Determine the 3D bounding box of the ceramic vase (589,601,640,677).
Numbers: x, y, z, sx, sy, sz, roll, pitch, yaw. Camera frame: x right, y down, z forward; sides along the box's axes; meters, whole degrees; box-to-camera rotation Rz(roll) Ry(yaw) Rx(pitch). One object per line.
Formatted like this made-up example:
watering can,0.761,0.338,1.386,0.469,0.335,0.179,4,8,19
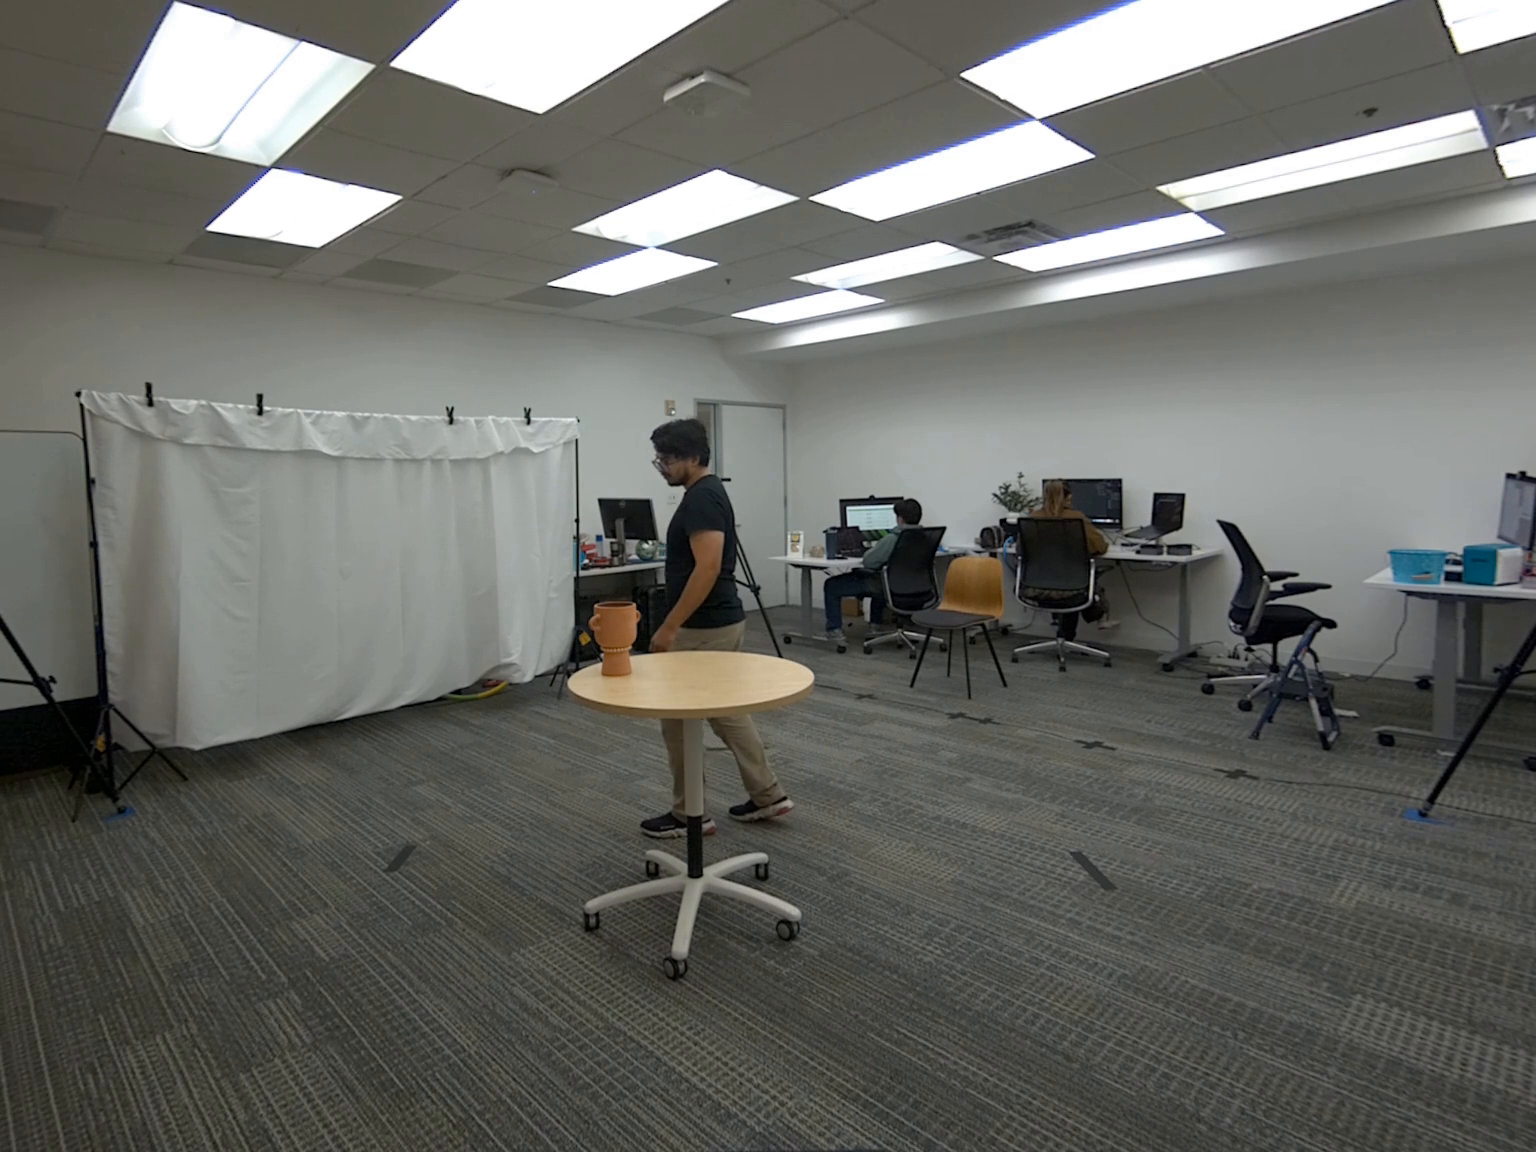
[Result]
ceramic vase,-0.476,0.201,2.726,0.158,0.219,0.136,-2,6,-7
